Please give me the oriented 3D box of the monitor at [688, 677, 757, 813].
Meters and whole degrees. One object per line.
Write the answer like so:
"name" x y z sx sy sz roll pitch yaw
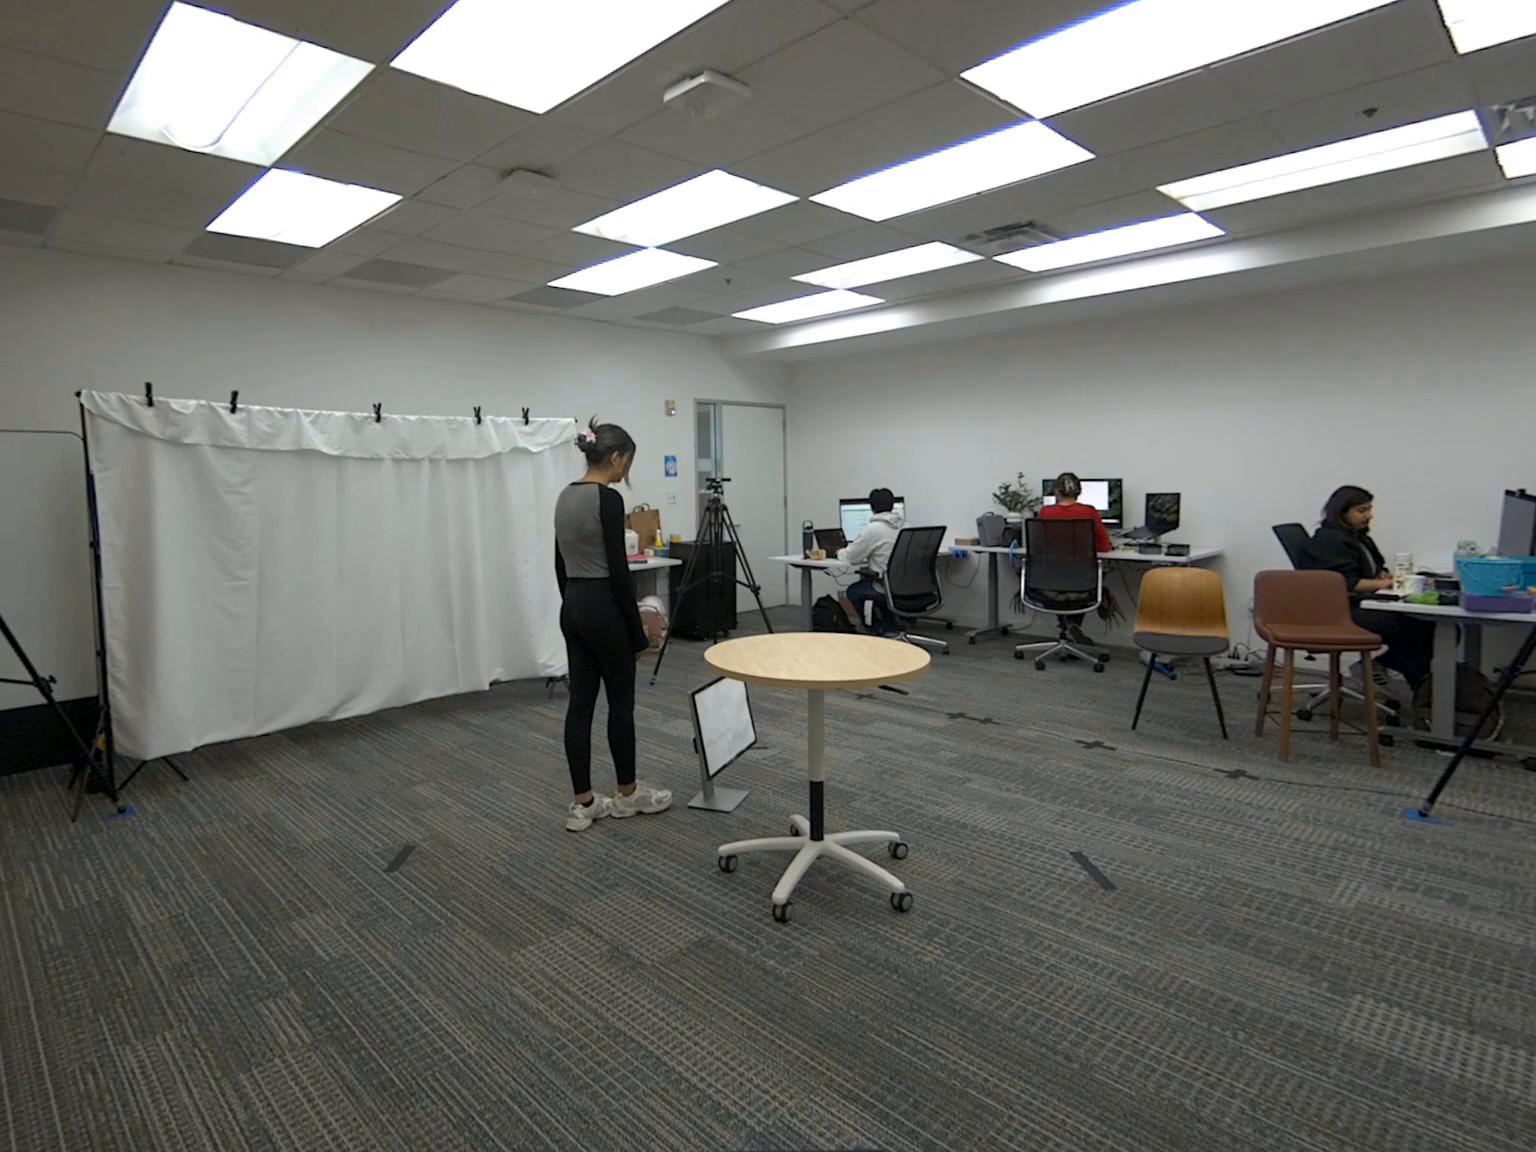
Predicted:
"monitor" -0.218 0.715 3.710 0.191 0.521 0.531 2 5 19
